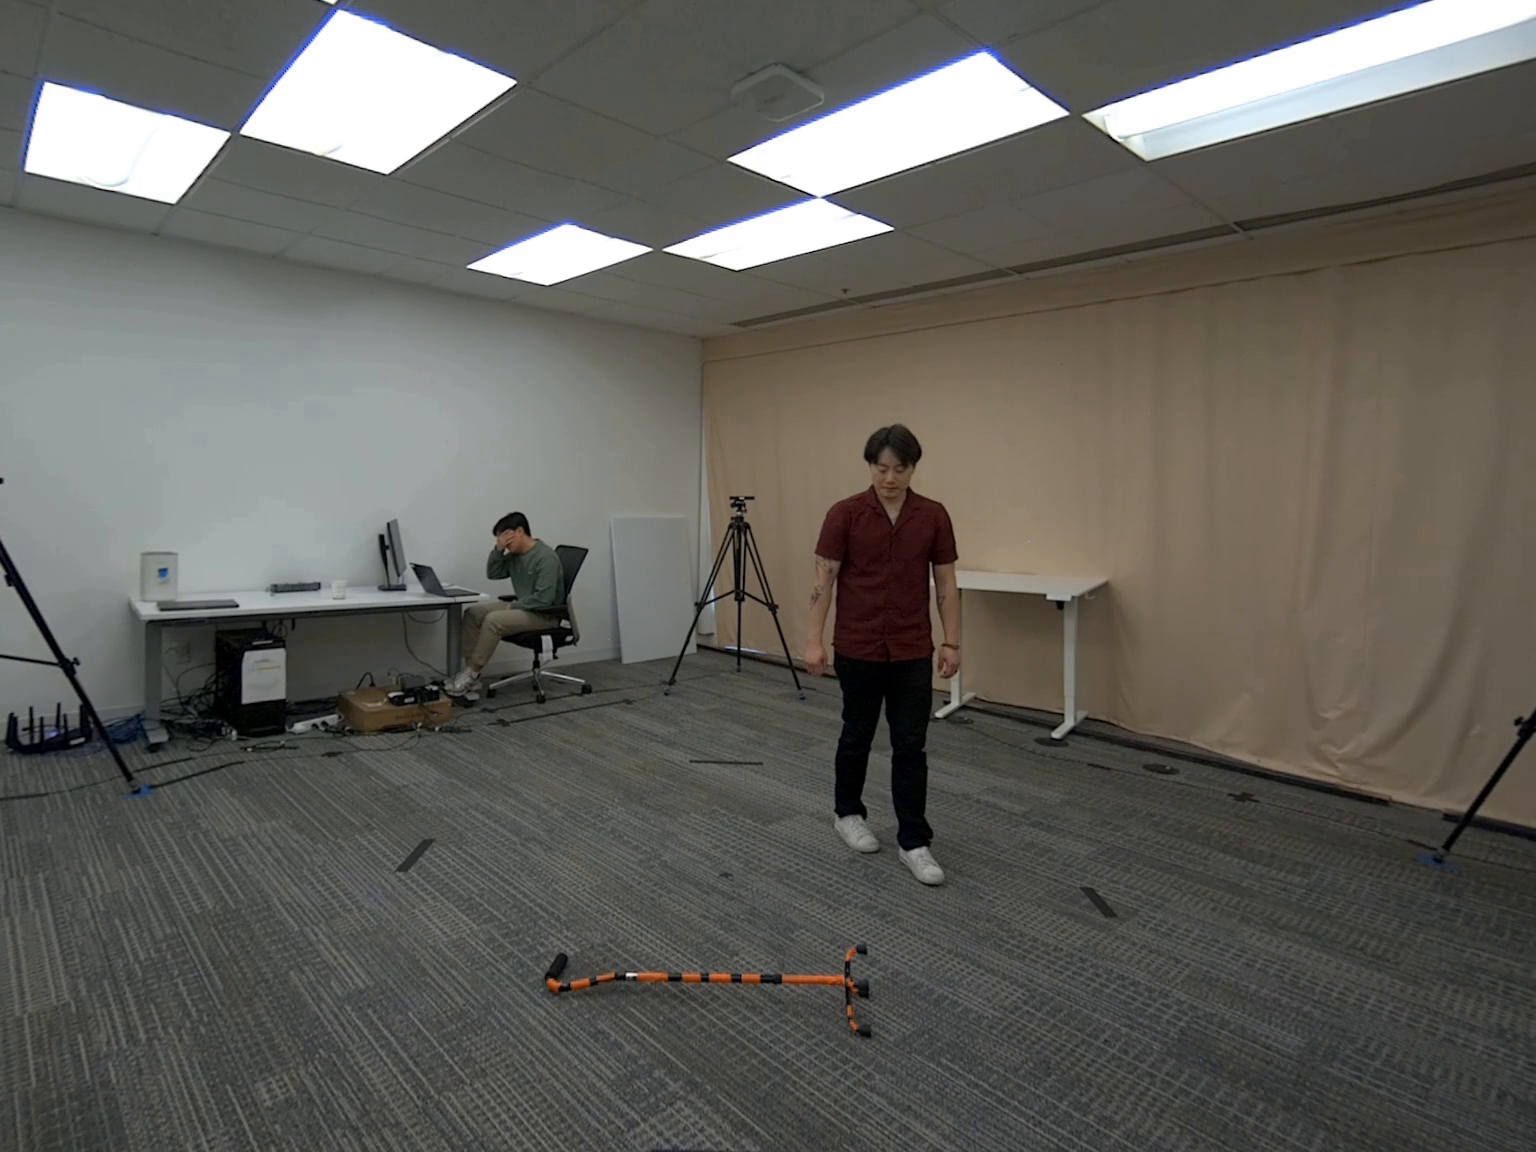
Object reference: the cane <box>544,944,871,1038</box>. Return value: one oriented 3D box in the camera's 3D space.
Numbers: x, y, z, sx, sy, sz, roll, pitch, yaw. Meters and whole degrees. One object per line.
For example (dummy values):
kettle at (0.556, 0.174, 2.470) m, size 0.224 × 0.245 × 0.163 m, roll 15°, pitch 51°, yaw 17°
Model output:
cane at (-0.185, 1.131, 2.334) m, size 0.913 × 0.151 × 0.206 m, roll -2°, pitch 4°, yaw 8°
